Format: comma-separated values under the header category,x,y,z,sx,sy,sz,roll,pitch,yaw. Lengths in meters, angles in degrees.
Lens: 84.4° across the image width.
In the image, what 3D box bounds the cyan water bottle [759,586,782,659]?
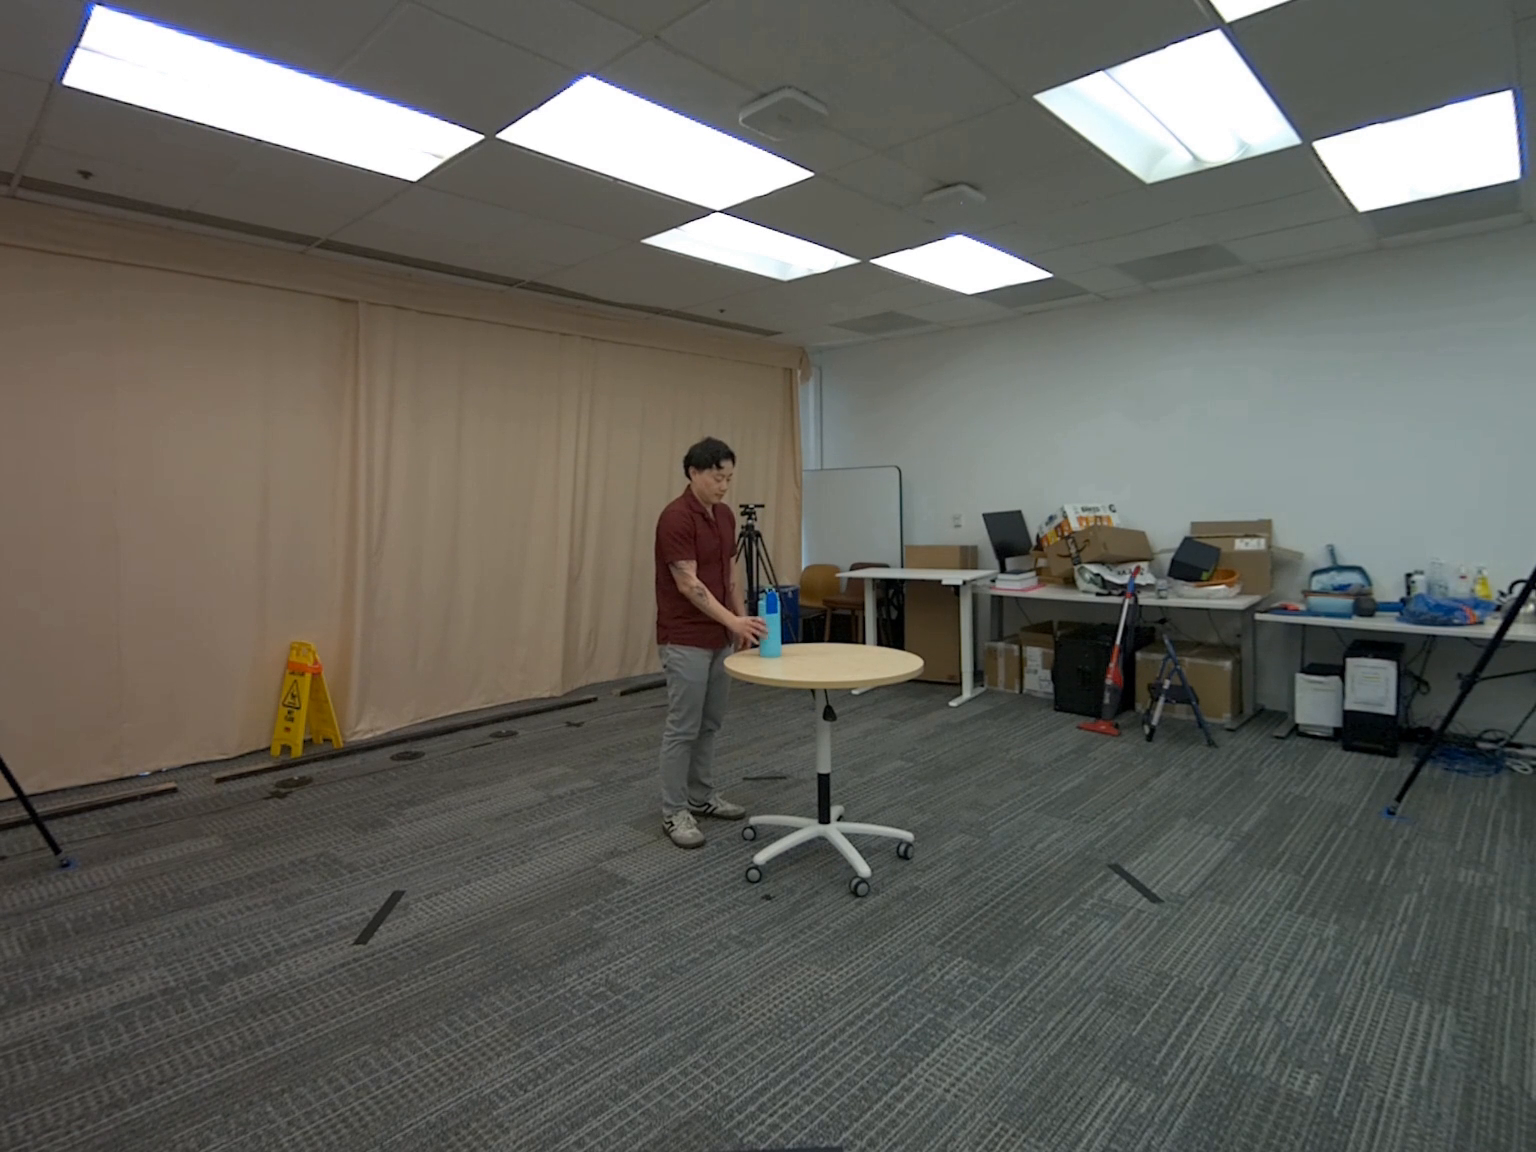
category,x,y,z,sx,sy,sz,roll,pitch,yaw
cyan water bottle,0.011,0.182,3.386,0.092,0.283,0.092,0,4,-2
